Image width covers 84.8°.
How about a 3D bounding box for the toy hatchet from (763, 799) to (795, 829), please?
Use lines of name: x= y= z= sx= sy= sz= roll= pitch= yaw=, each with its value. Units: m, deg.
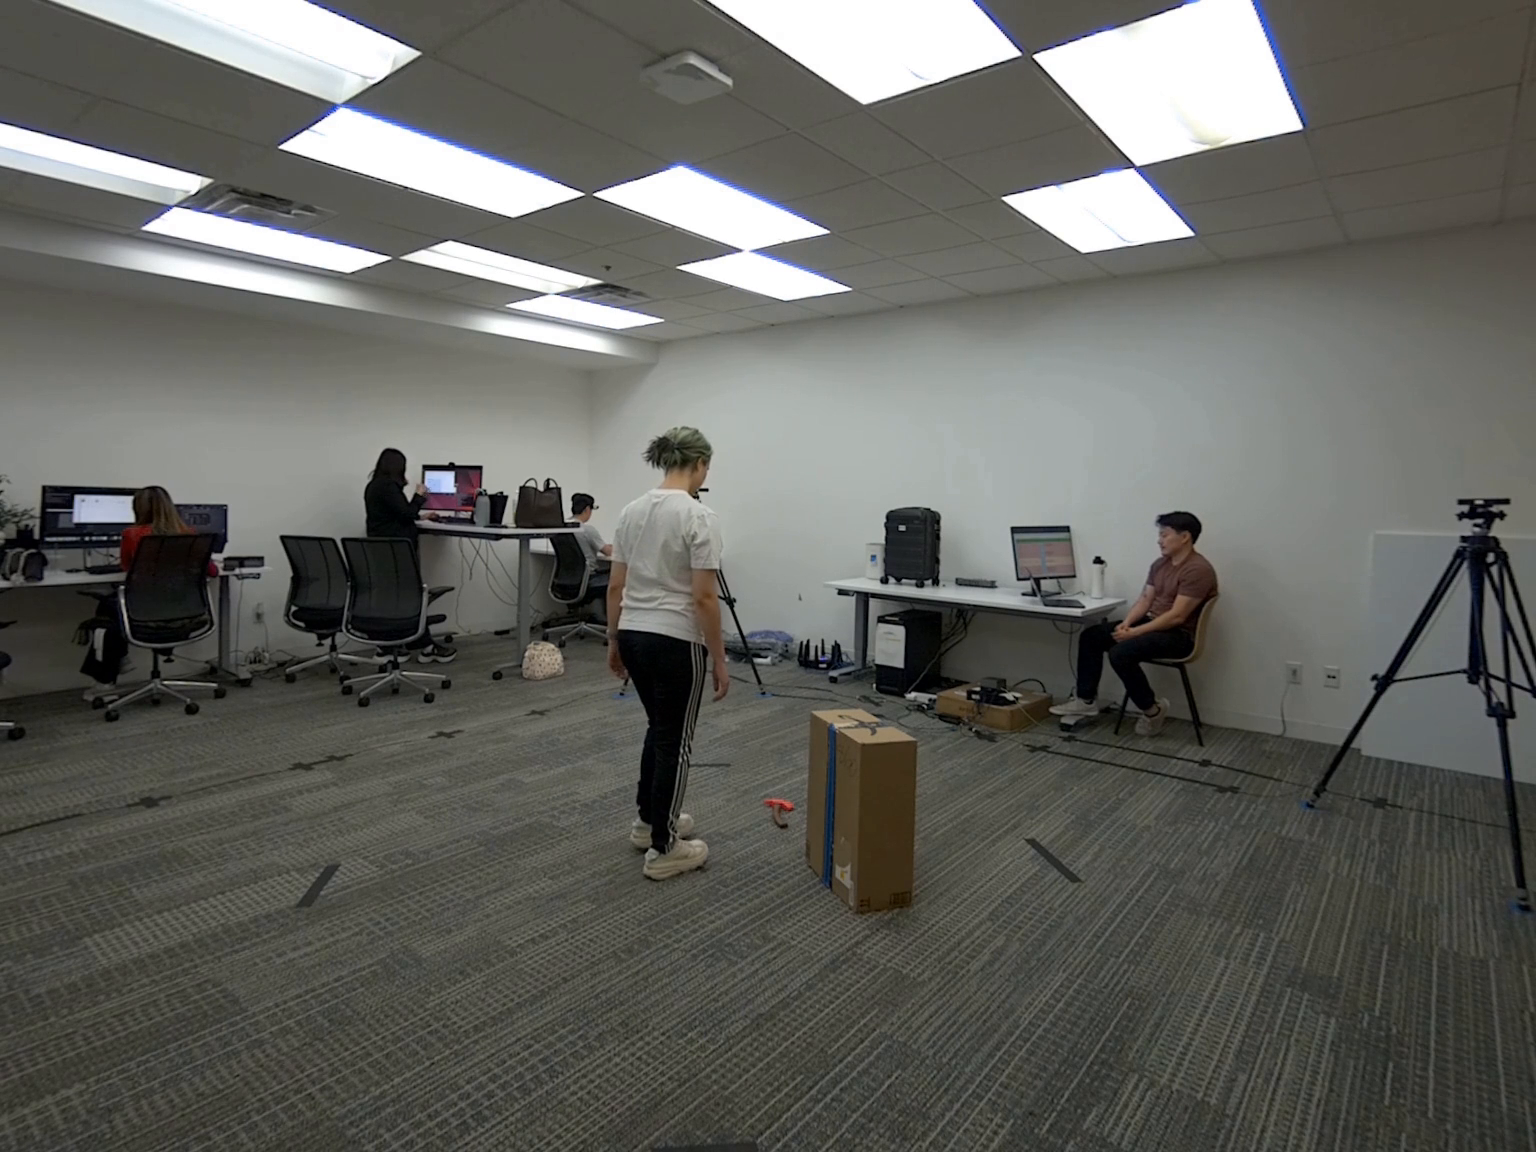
toy hatchet: x=0.065 y=1.013 z=3.639 sx=0.129 sy=0.029 sz=0.275 roll=3 pitch=7 yaw=-14
